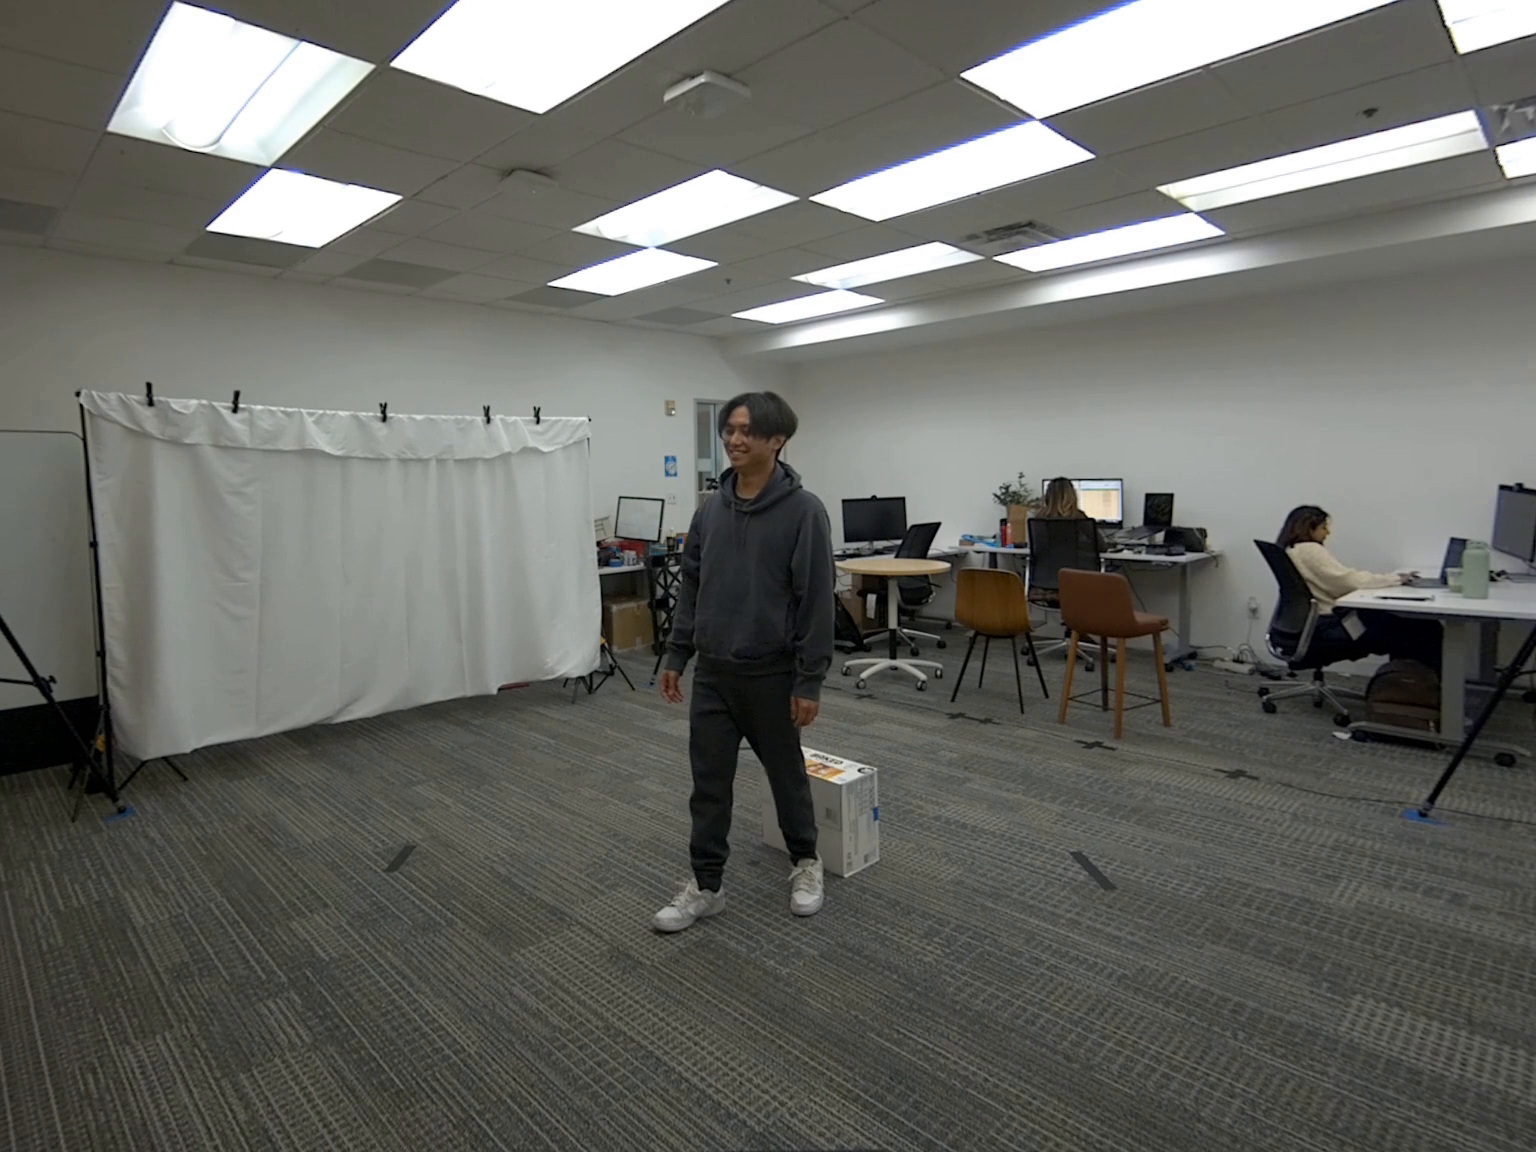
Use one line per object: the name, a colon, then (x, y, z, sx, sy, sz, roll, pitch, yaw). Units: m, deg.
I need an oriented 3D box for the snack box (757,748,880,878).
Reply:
snack box: (0.193, 0.862, 3.178, 0.200, 0.339, 0.418, -7, 8, -43)
